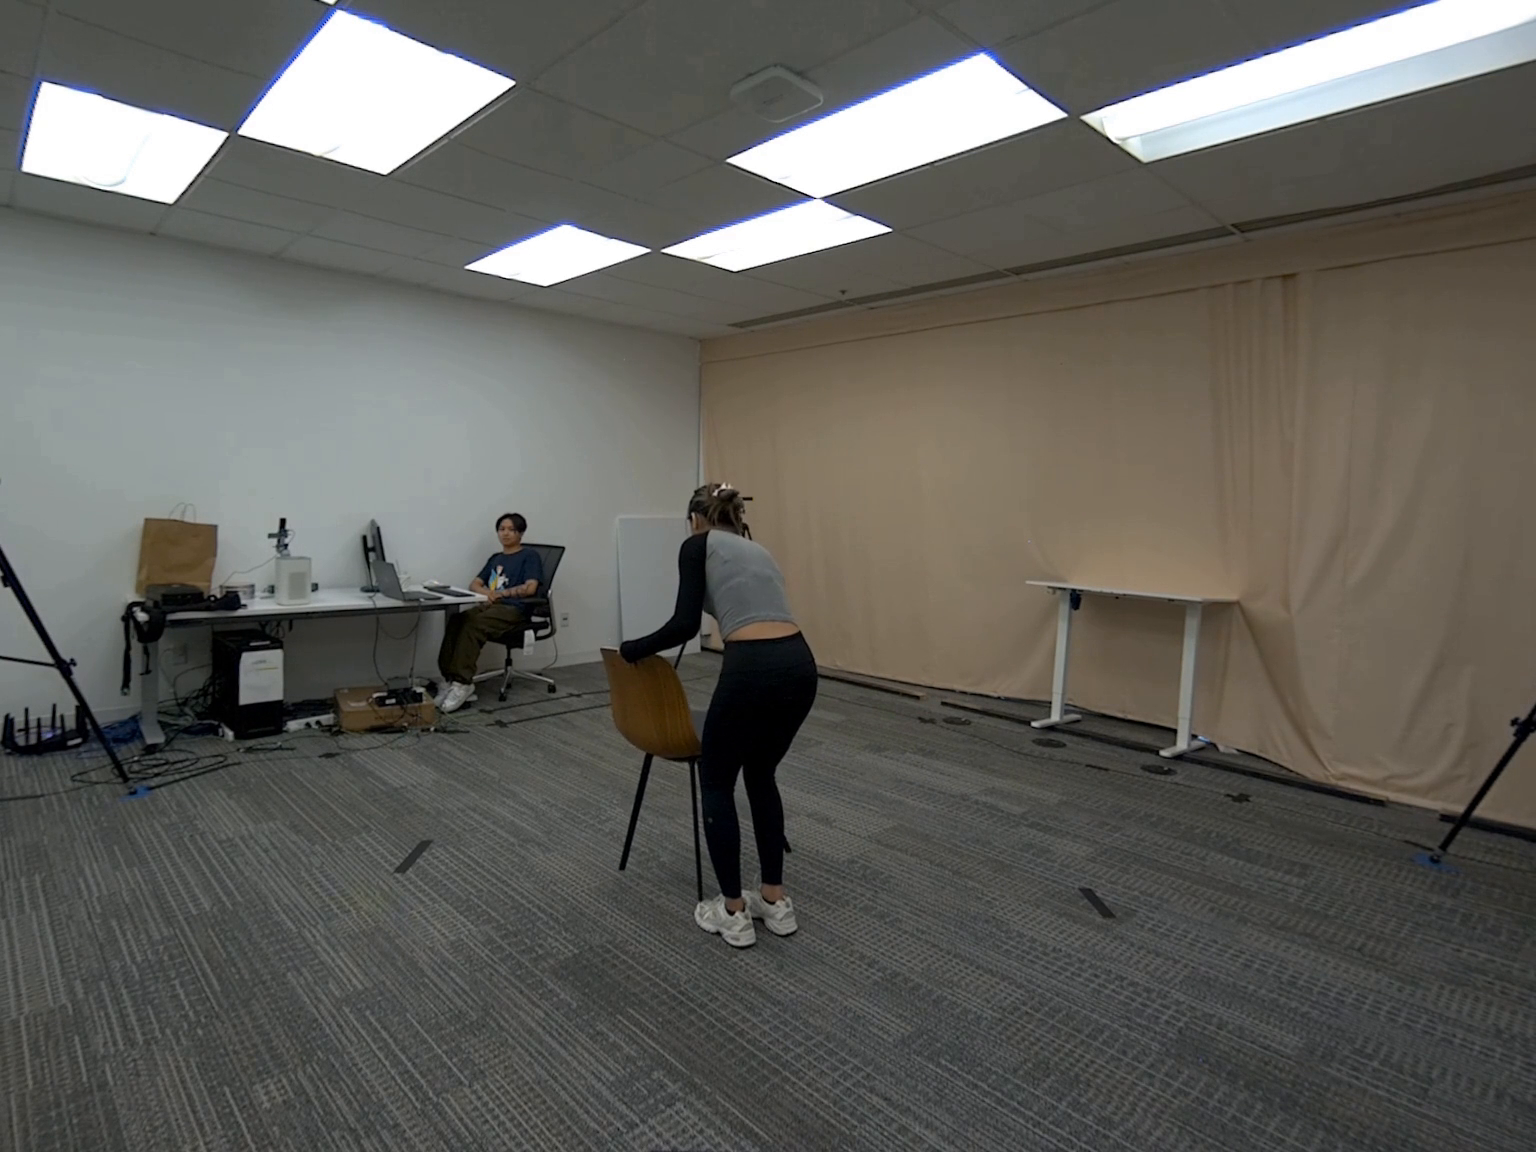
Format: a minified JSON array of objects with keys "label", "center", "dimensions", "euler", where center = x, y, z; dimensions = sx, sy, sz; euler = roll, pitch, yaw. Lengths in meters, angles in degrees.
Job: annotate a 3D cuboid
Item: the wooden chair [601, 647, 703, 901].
[{"label":"wooden chair","center":[-0.279,0.620,3.061],"dimensions":[0.489,0.872,0.514],"euler":[-1,10,45]}]
